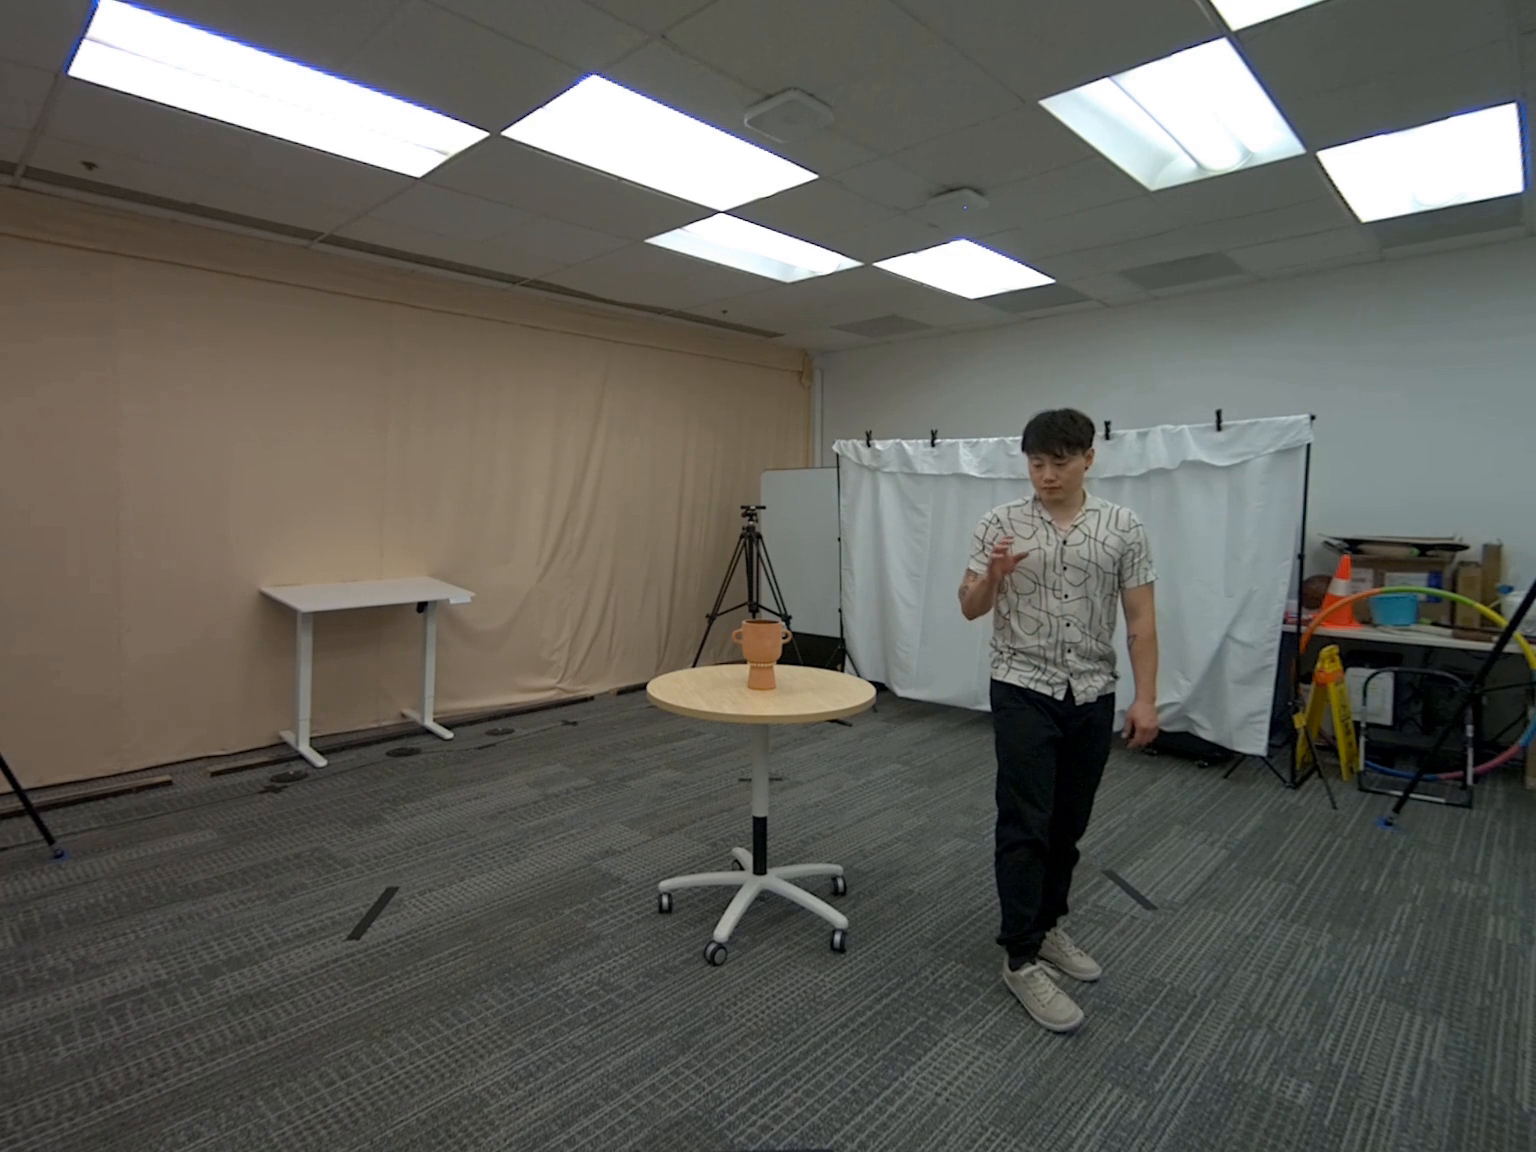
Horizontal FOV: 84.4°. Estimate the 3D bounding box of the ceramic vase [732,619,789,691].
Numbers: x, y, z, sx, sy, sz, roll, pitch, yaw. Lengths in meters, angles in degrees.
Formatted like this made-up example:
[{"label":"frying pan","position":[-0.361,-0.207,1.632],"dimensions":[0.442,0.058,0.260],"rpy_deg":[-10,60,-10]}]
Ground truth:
[{"label":"ceramic vase","position":[-0.018,0.265,2.818],"dimensions":[0.164,0.219,0.131],"rpy_deg":[3,4,34]}]
